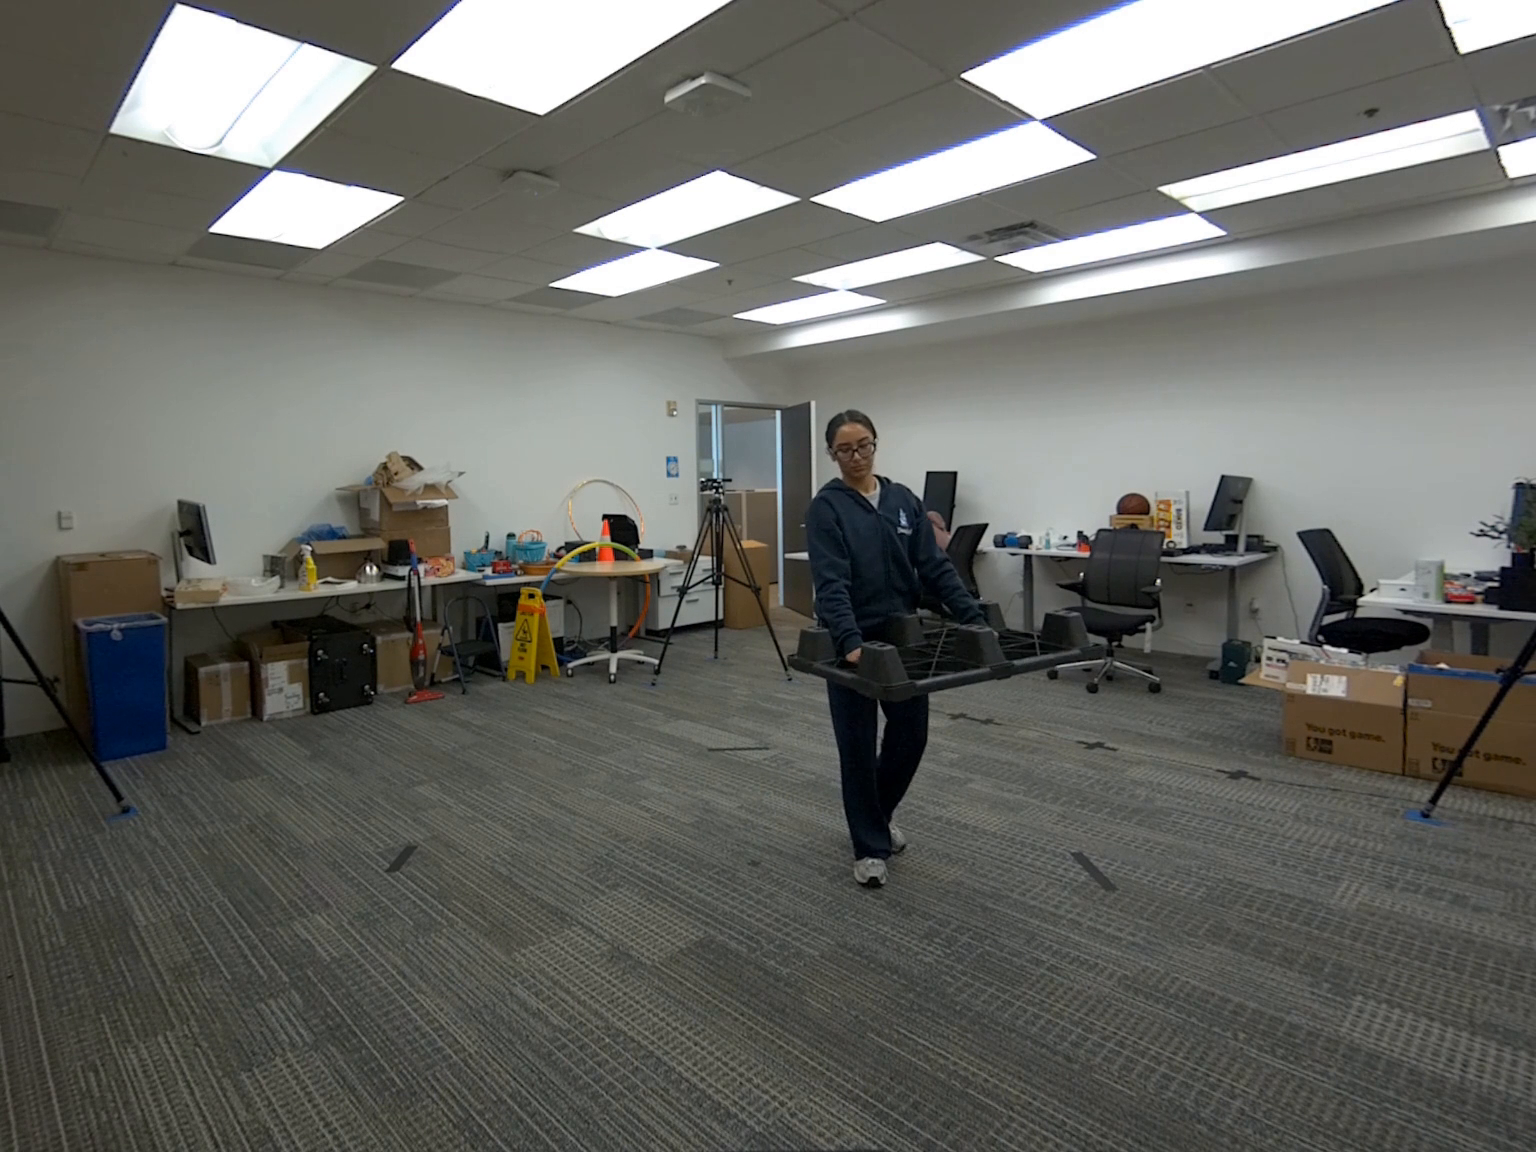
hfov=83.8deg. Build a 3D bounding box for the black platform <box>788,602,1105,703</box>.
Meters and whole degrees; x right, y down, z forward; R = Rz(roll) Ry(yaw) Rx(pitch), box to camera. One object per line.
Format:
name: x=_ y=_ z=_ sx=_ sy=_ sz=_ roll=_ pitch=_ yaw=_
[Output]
black platform: x=0.545 y=0.214 z=2.715 sx=0.791 sy=0.142 sz=0.619 roll=-7 pitch=7 yaw=-24
